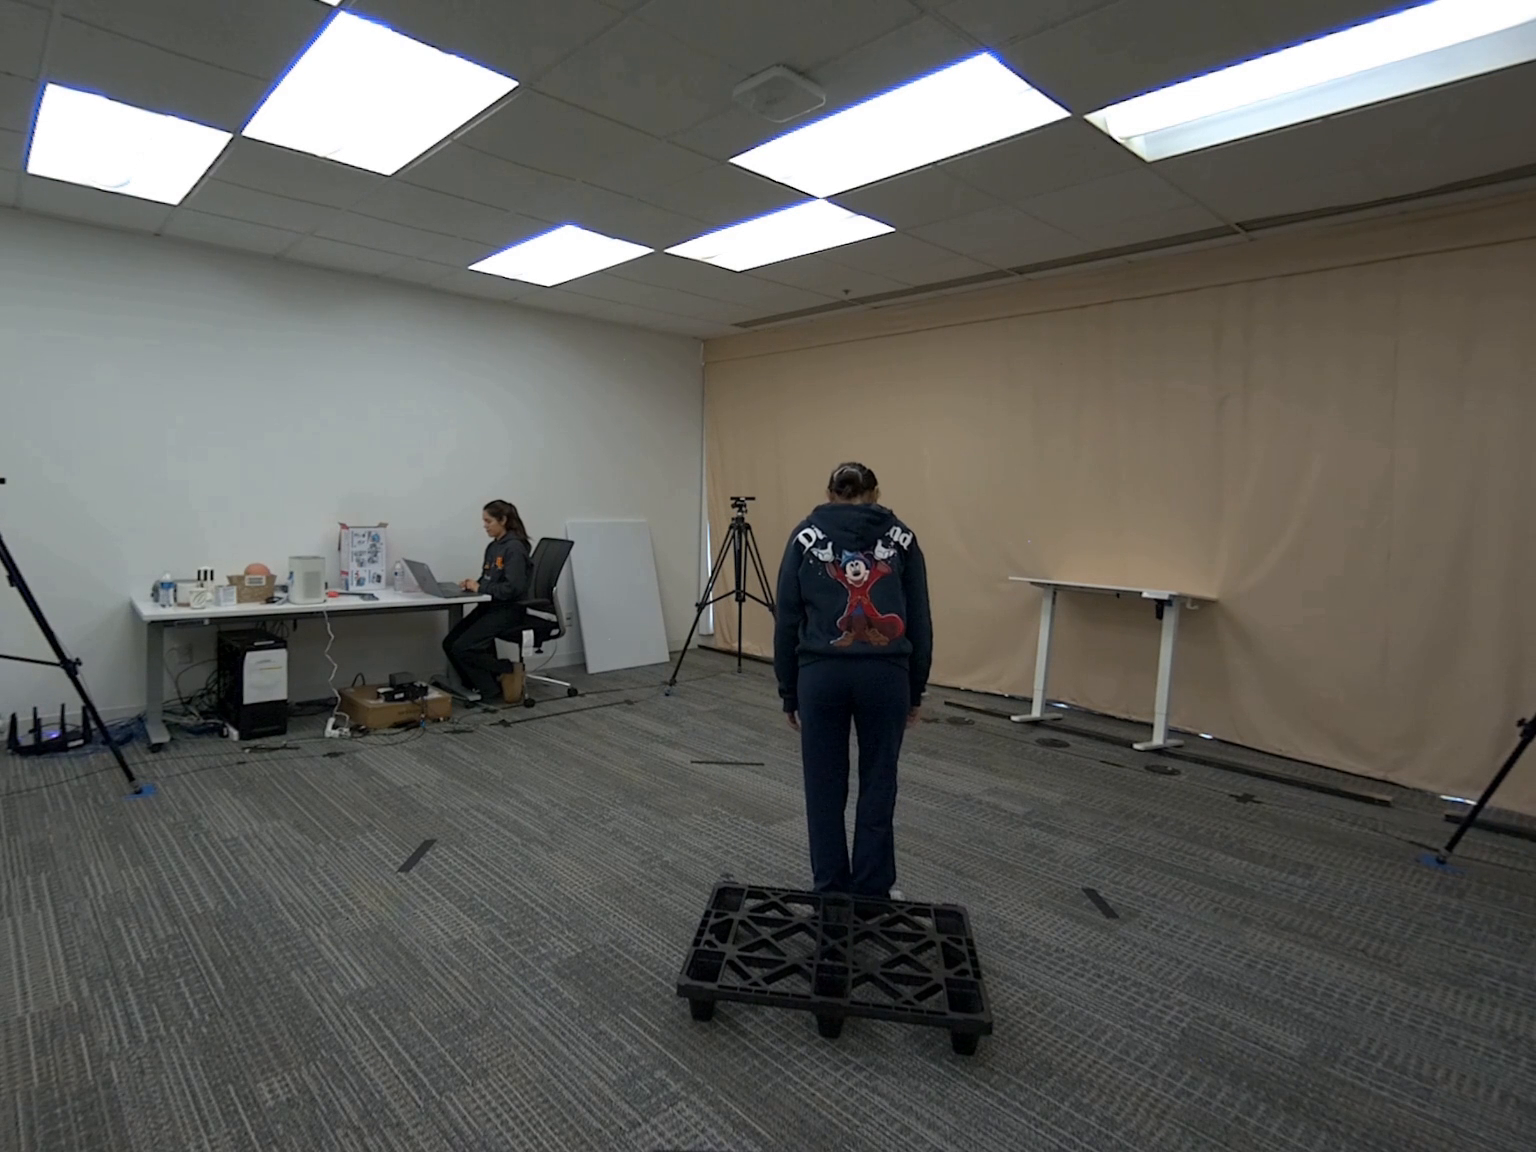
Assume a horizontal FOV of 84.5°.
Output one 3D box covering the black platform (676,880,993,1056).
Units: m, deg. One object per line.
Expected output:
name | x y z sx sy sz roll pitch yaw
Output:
black platform | 0.189 1.112 2.408 0.811 0.143 0.603 2 6 7
